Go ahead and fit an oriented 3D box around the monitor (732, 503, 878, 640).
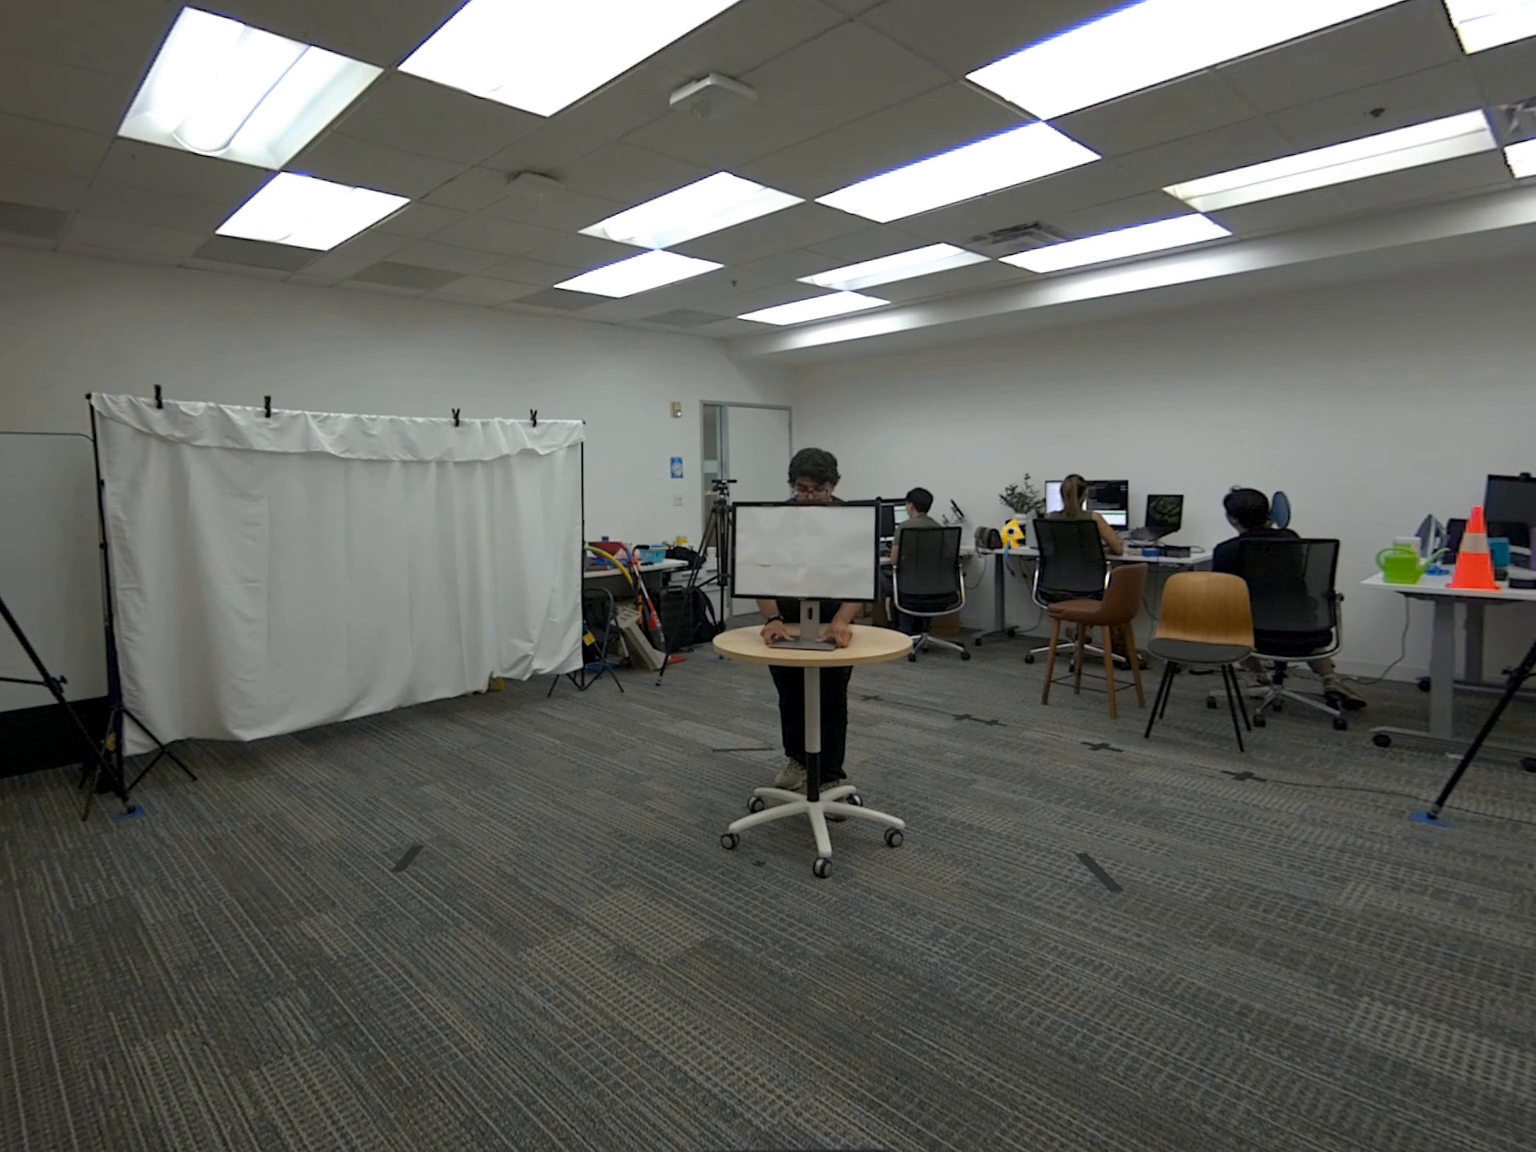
[{"bbox_3d":[0.150,-0.007,3.198,0.576,0.553,0.207,1,3,19],"label":"monitor"}]
